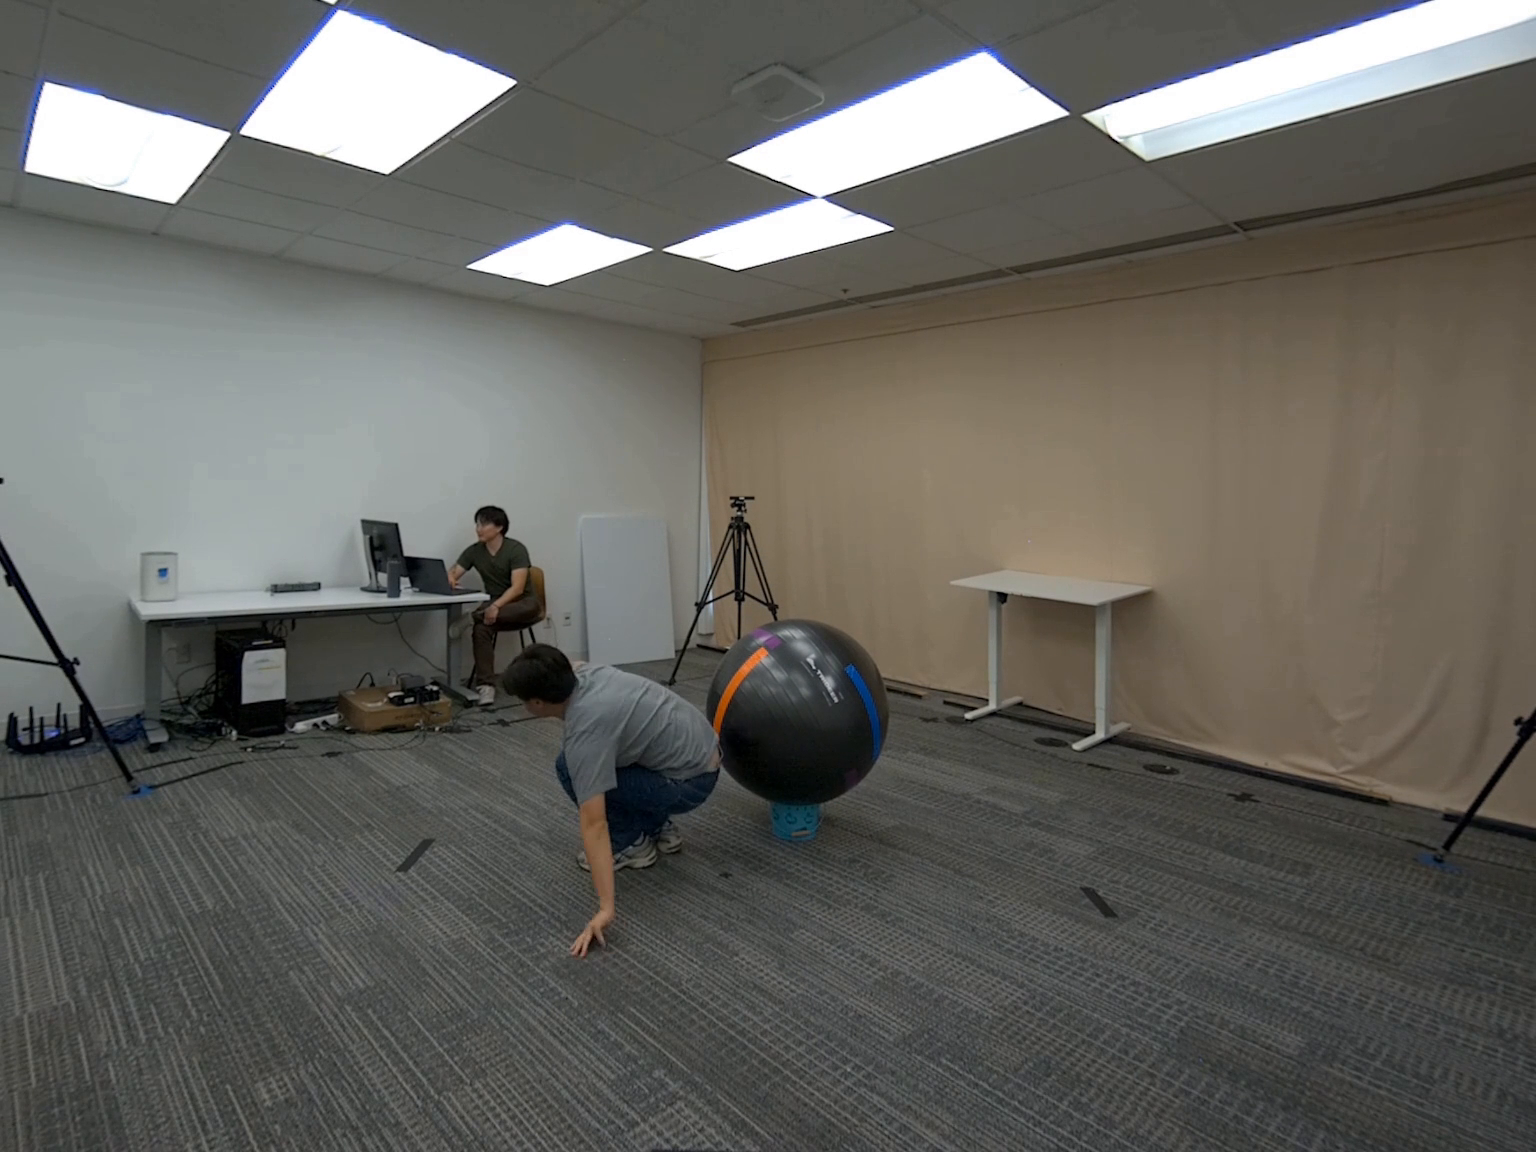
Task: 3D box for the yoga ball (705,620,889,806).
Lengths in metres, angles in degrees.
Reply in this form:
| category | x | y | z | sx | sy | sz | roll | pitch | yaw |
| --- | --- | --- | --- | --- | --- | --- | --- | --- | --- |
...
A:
| category | x | y | z | sx | sy | sz | roll | pitch | yaw |
| --- | --- | --- | --- | --- | --- | --- | --- | --- | --- |
| yoga ball | 0.114 | 0.561 | 3.514 | 0.757 | 0.756 | 0.761 | 1 | 4 | -1 |
